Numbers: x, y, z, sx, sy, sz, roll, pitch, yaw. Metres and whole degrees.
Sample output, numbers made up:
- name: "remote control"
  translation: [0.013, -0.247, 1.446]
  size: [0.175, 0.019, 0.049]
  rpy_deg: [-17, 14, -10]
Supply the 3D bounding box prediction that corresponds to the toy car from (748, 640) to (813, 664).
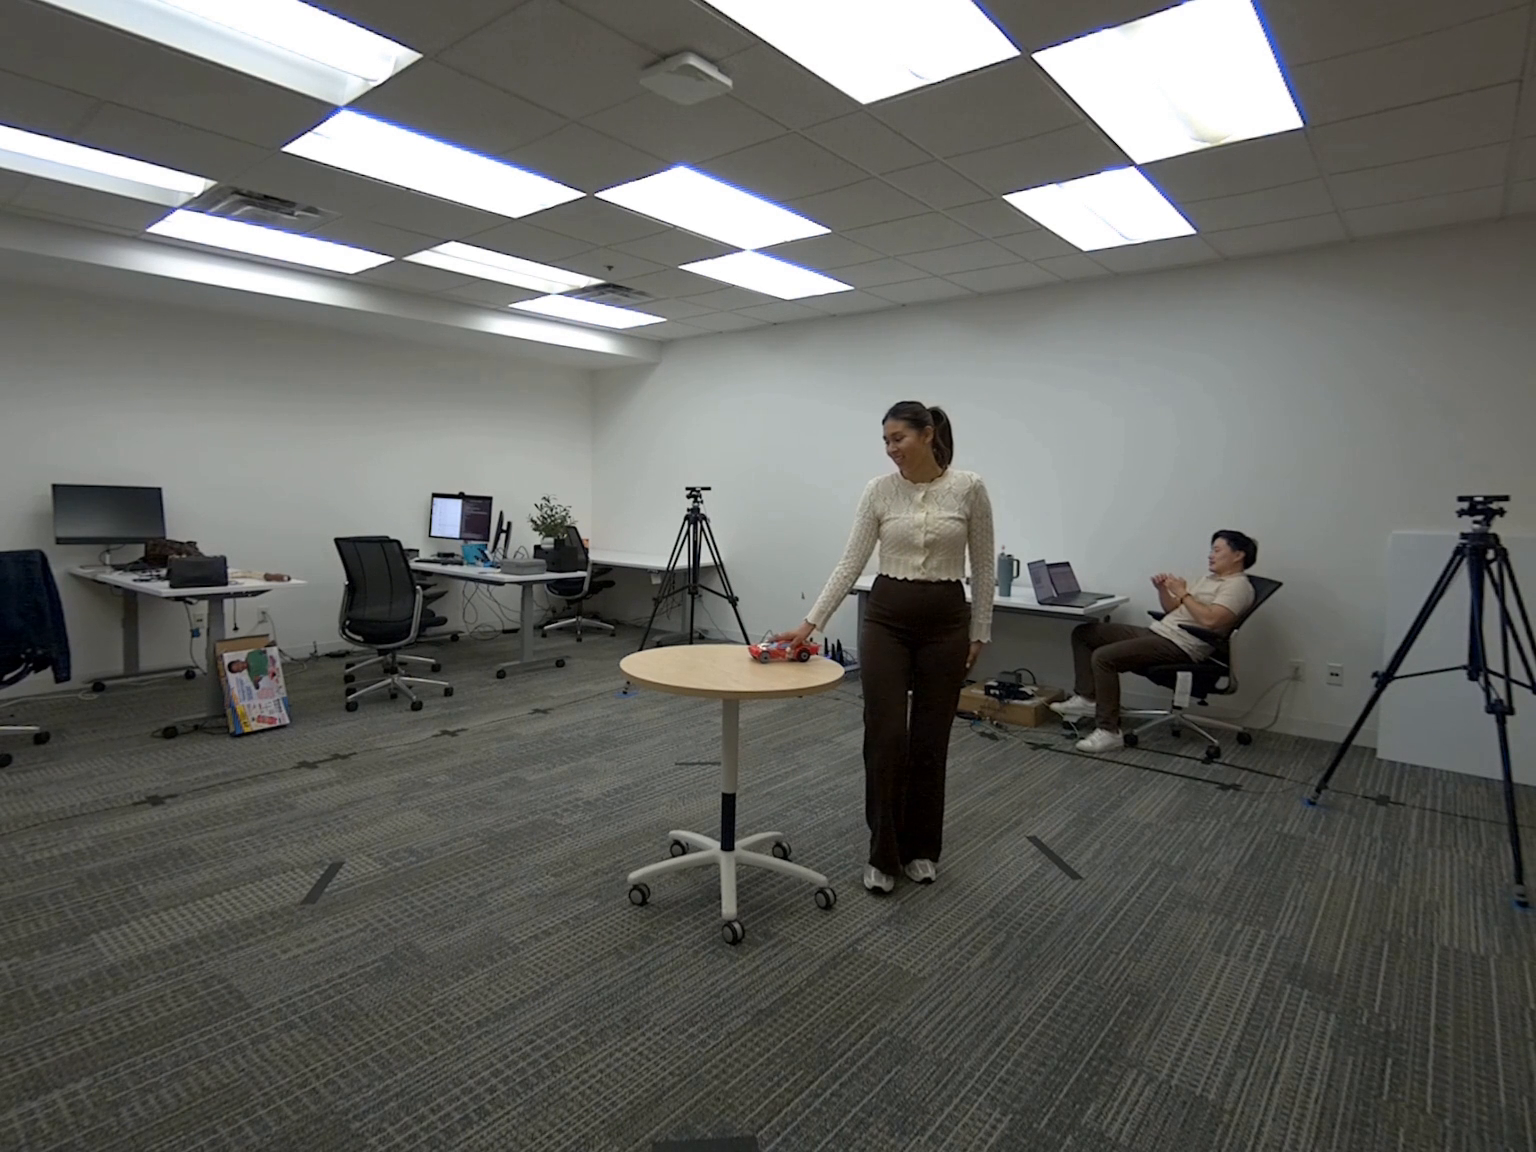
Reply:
- name: "toy car"
  translation: [0.056, 0.264, 3.031]
  size: [0.251, 0.082, 0.133]
  rpy_deg: [-12, 8, -14]
